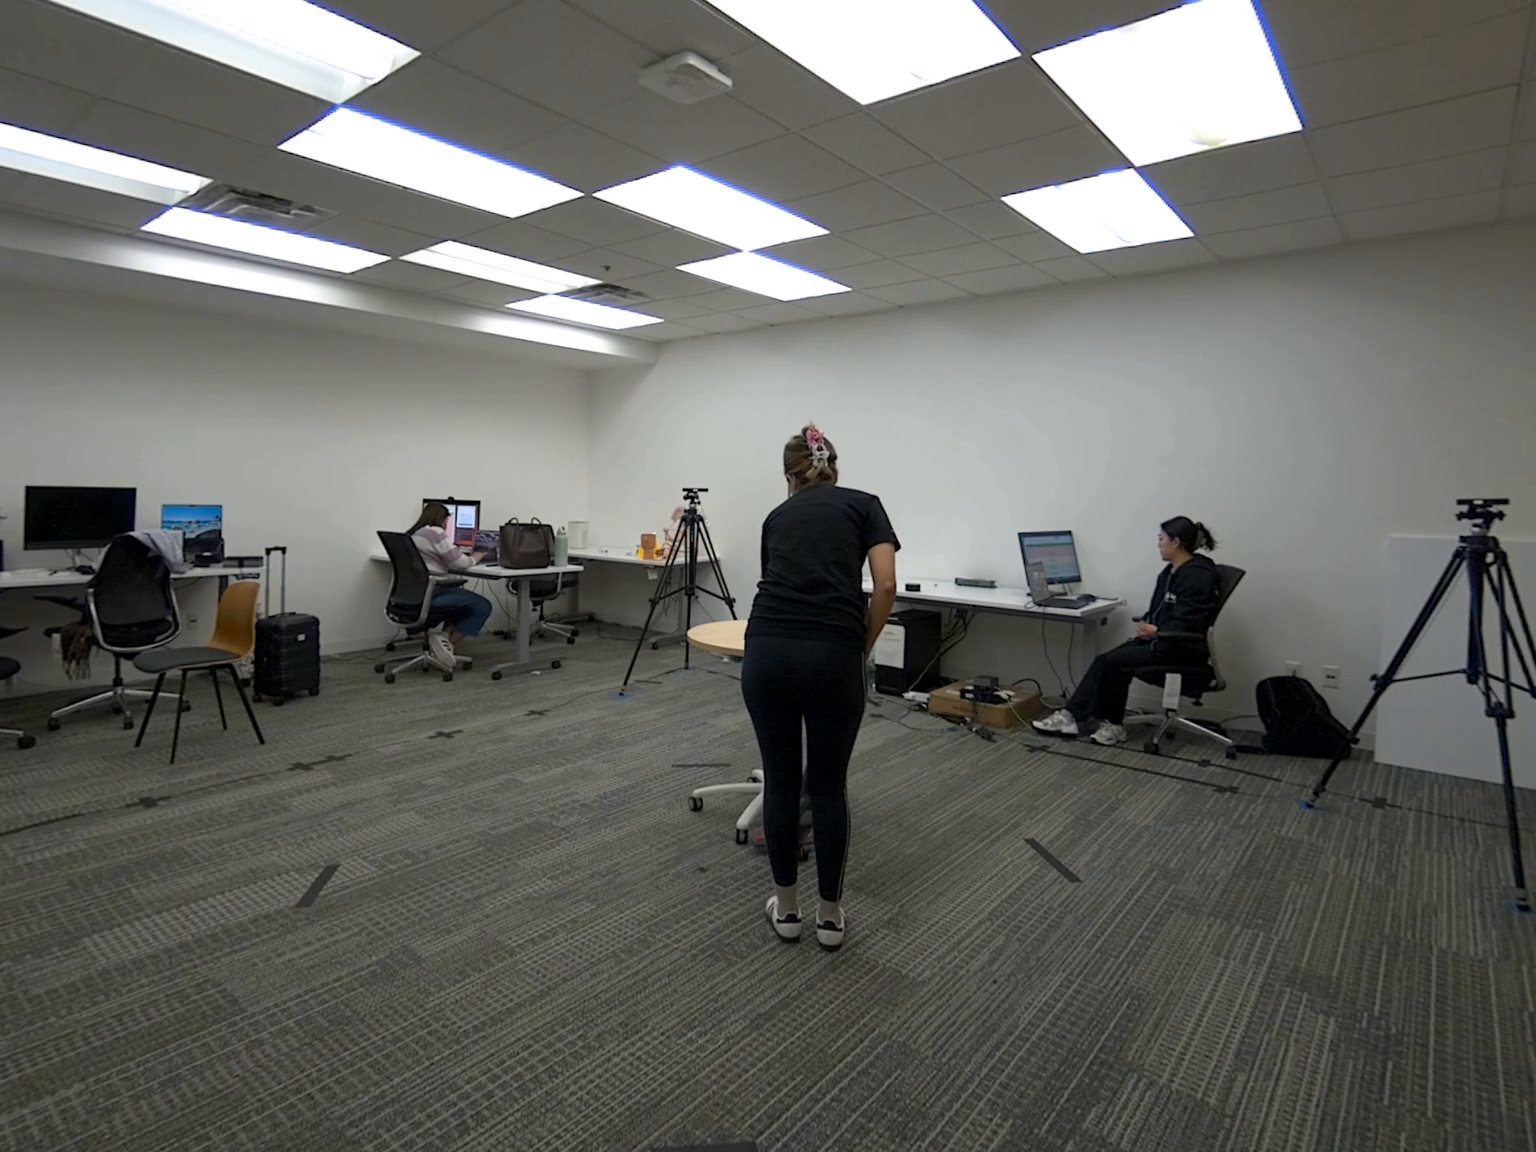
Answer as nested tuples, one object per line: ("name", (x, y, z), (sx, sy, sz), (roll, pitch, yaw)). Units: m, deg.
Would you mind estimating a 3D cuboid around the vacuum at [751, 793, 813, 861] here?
("vacuum", (0.154, 0.653, 2.920), (0.250, 1.027, 0.148), (6, 42, -9))
